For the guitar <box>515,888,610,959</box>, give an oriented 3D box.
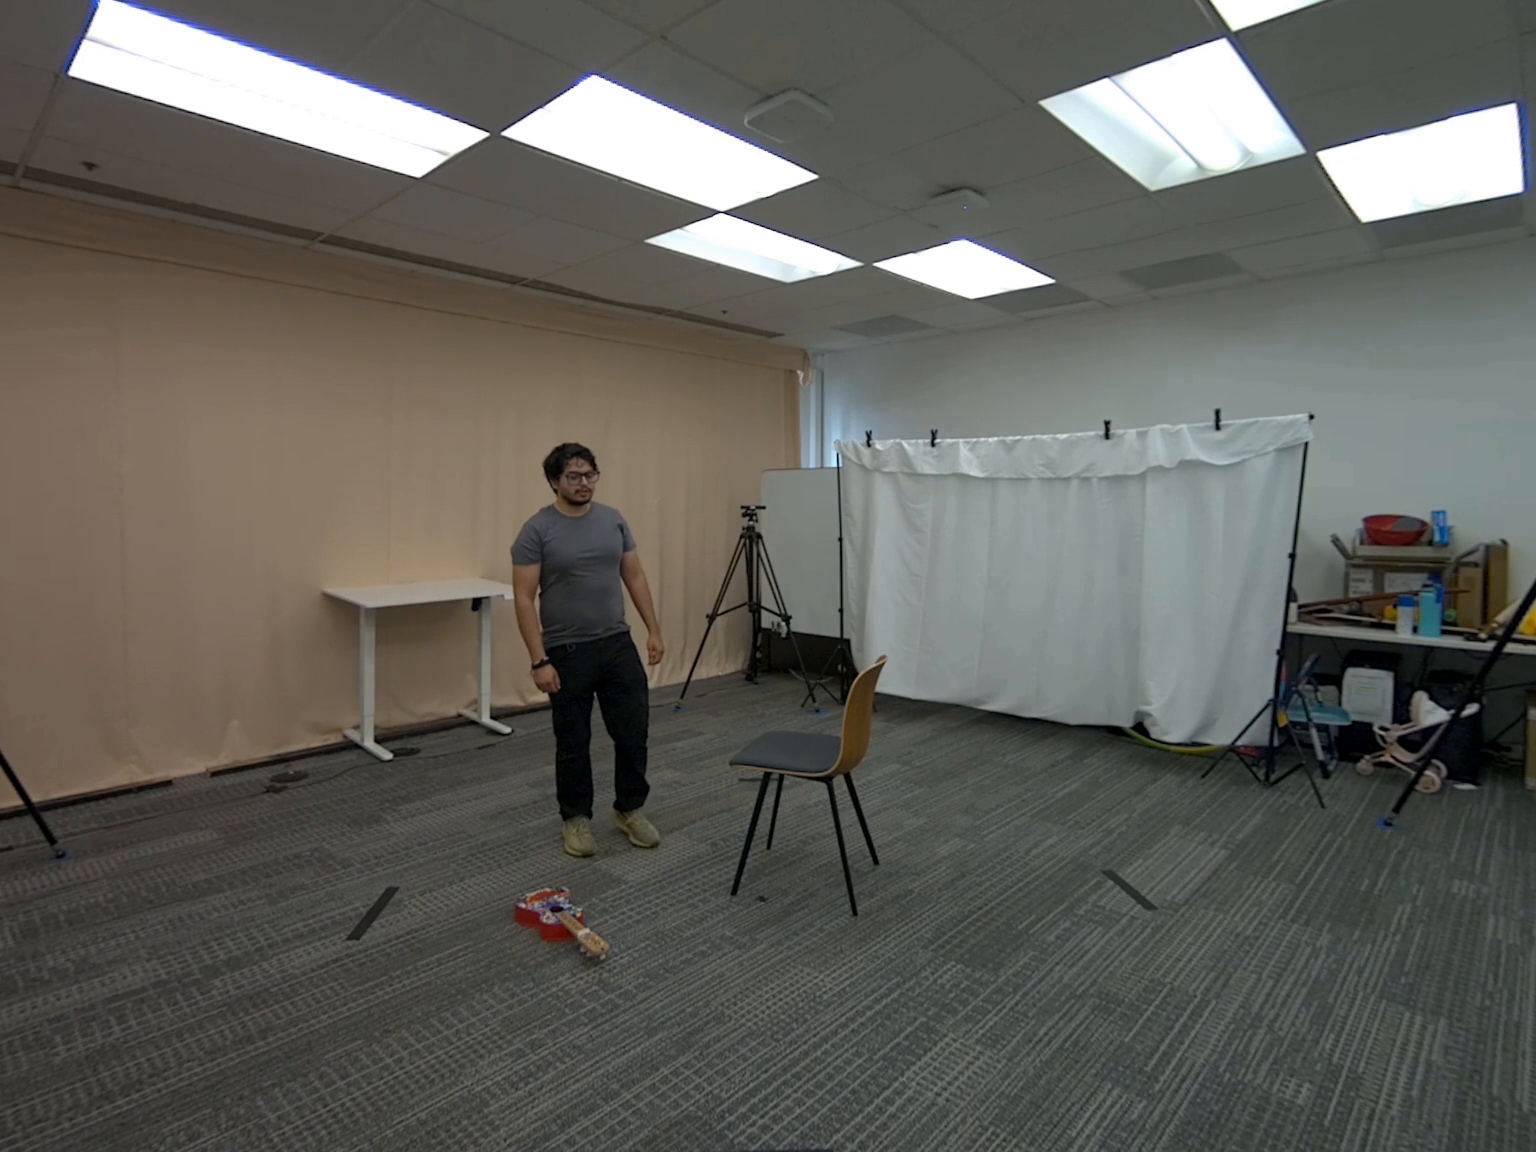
[{"bbox_3d":[-0.682,1.143,2.711,0.188,0.070,0.512,-2,4,-29],"label":"guitar"}]
